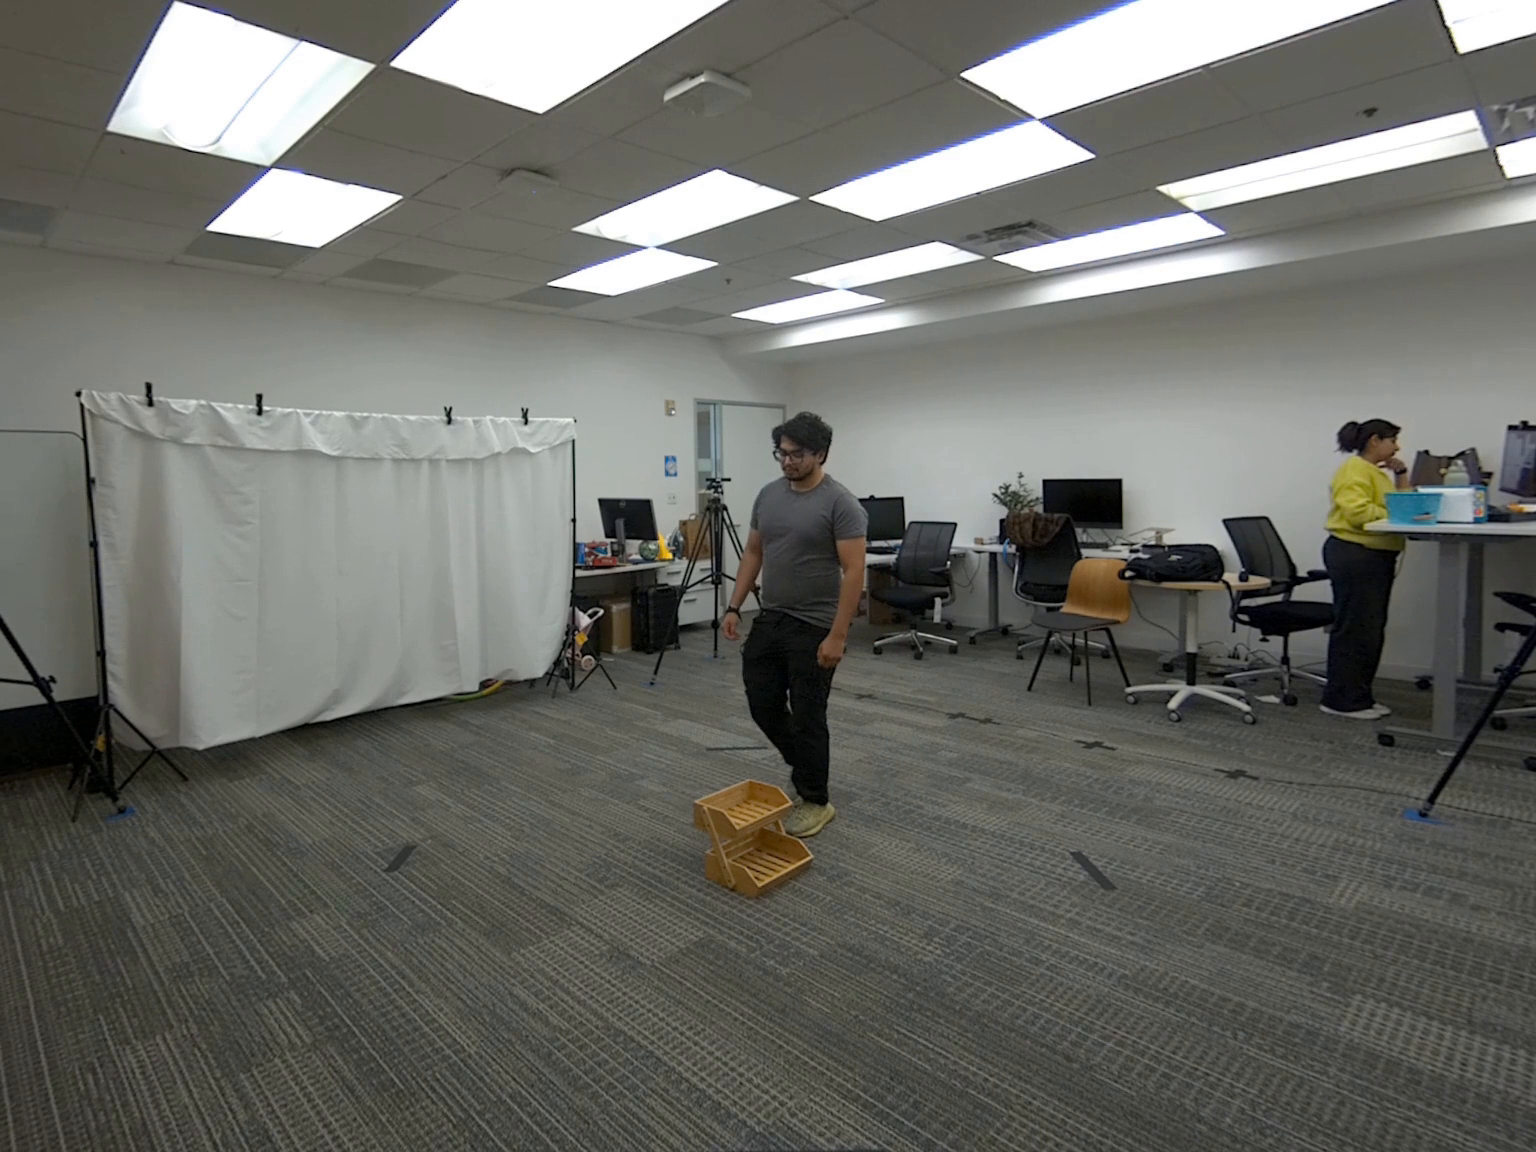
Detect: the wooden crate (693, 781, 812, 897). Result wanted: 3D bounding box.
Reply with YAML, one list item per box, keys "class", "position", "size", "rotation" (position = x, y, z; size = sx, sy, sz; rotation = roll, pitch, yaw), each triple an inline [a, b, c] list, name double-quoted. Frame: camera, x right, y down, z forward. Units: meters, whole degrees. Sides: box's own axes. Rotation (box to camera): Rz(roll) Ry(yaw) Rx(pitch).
- class: "wooden crate"
  position: [-0.046, 0.919, 3.029]
  size: [0.311, 0.272, 0.316]
  rotation: [3, 7, 42]
